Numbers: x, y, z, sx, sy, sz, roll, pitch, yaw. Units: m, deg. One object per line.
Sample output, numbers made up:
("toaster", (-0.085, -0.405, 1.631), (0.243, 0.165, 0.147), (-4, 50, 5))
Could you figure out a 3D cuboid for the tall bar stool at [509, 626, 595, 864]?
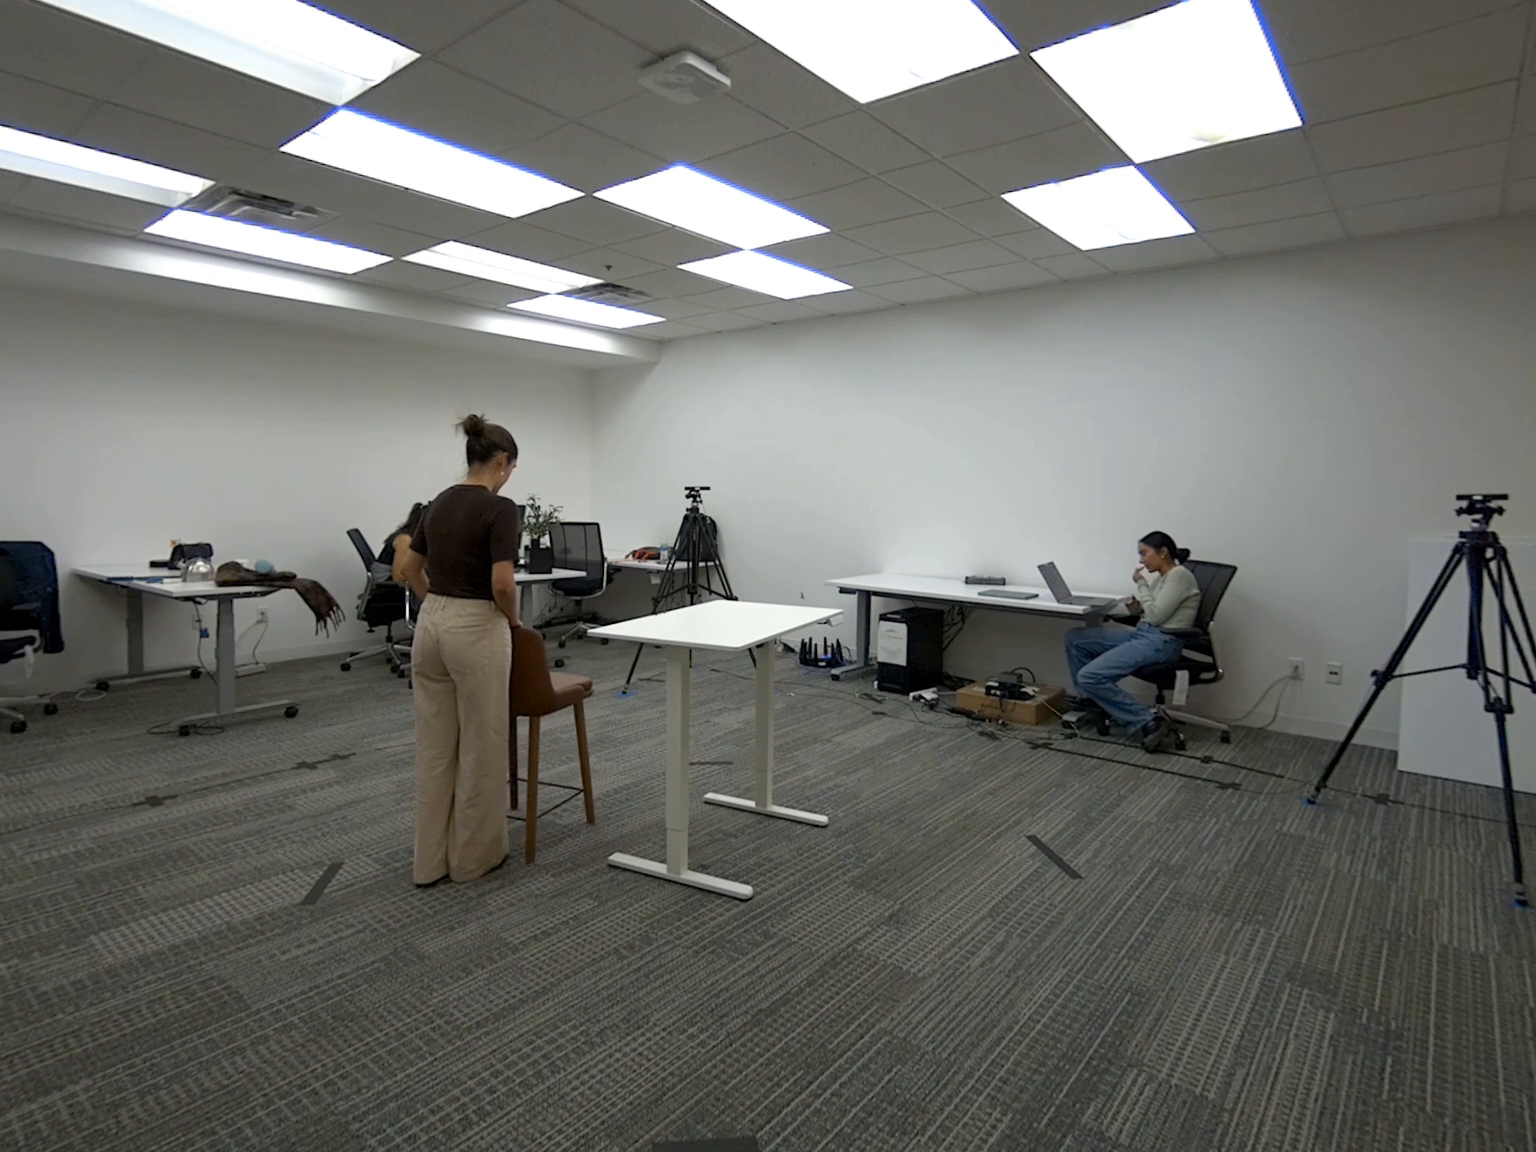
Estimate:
("tall bar stool", (-0.985, 0.593, 3.360), (0.467, 0.886, 0.459), (2, 5, 20))
